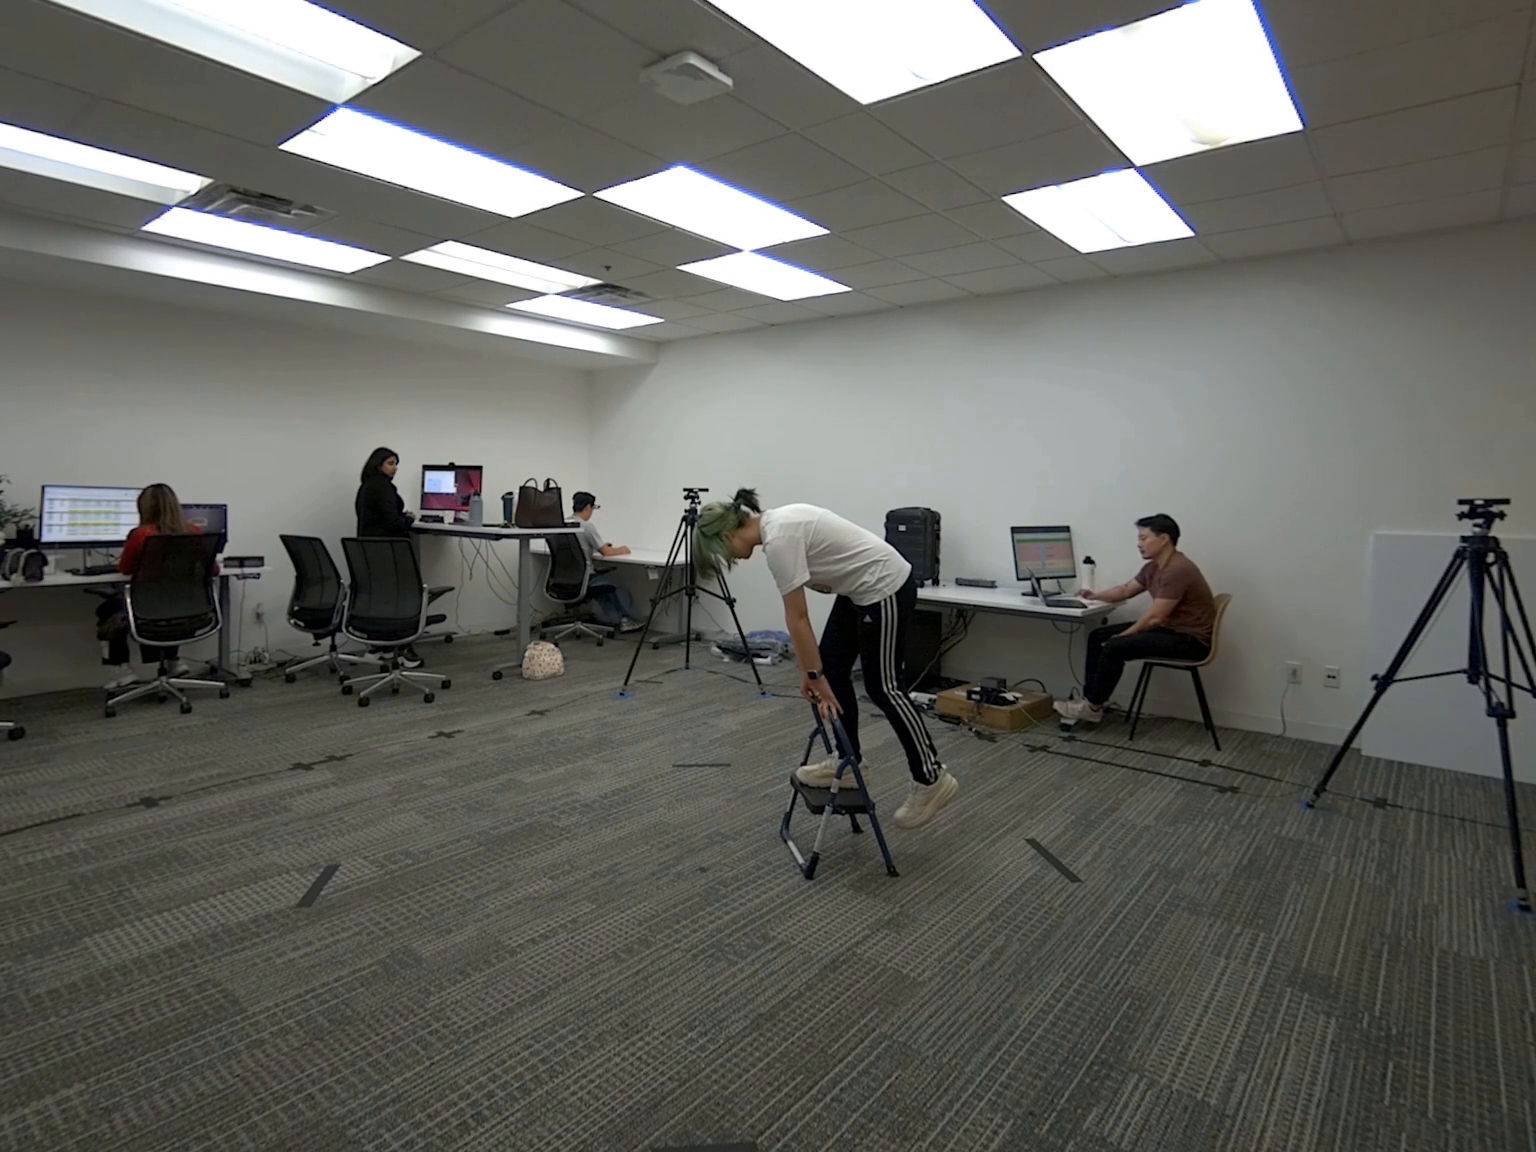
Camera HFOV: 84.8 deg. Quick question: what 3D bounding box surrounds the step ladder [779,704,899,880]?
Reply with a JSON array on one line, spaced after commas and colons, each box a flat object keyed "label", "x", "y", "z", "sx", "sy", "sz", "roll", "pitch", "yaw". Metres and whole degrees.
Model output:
[{"label": "step ladder", "x": 0.259, "y": 0.767, "z": 3.253, "sx": 0.345, "sy": 0.604, "sz": 0.437, "roll": 1, "pitch": 4, "yaw": -12}]
